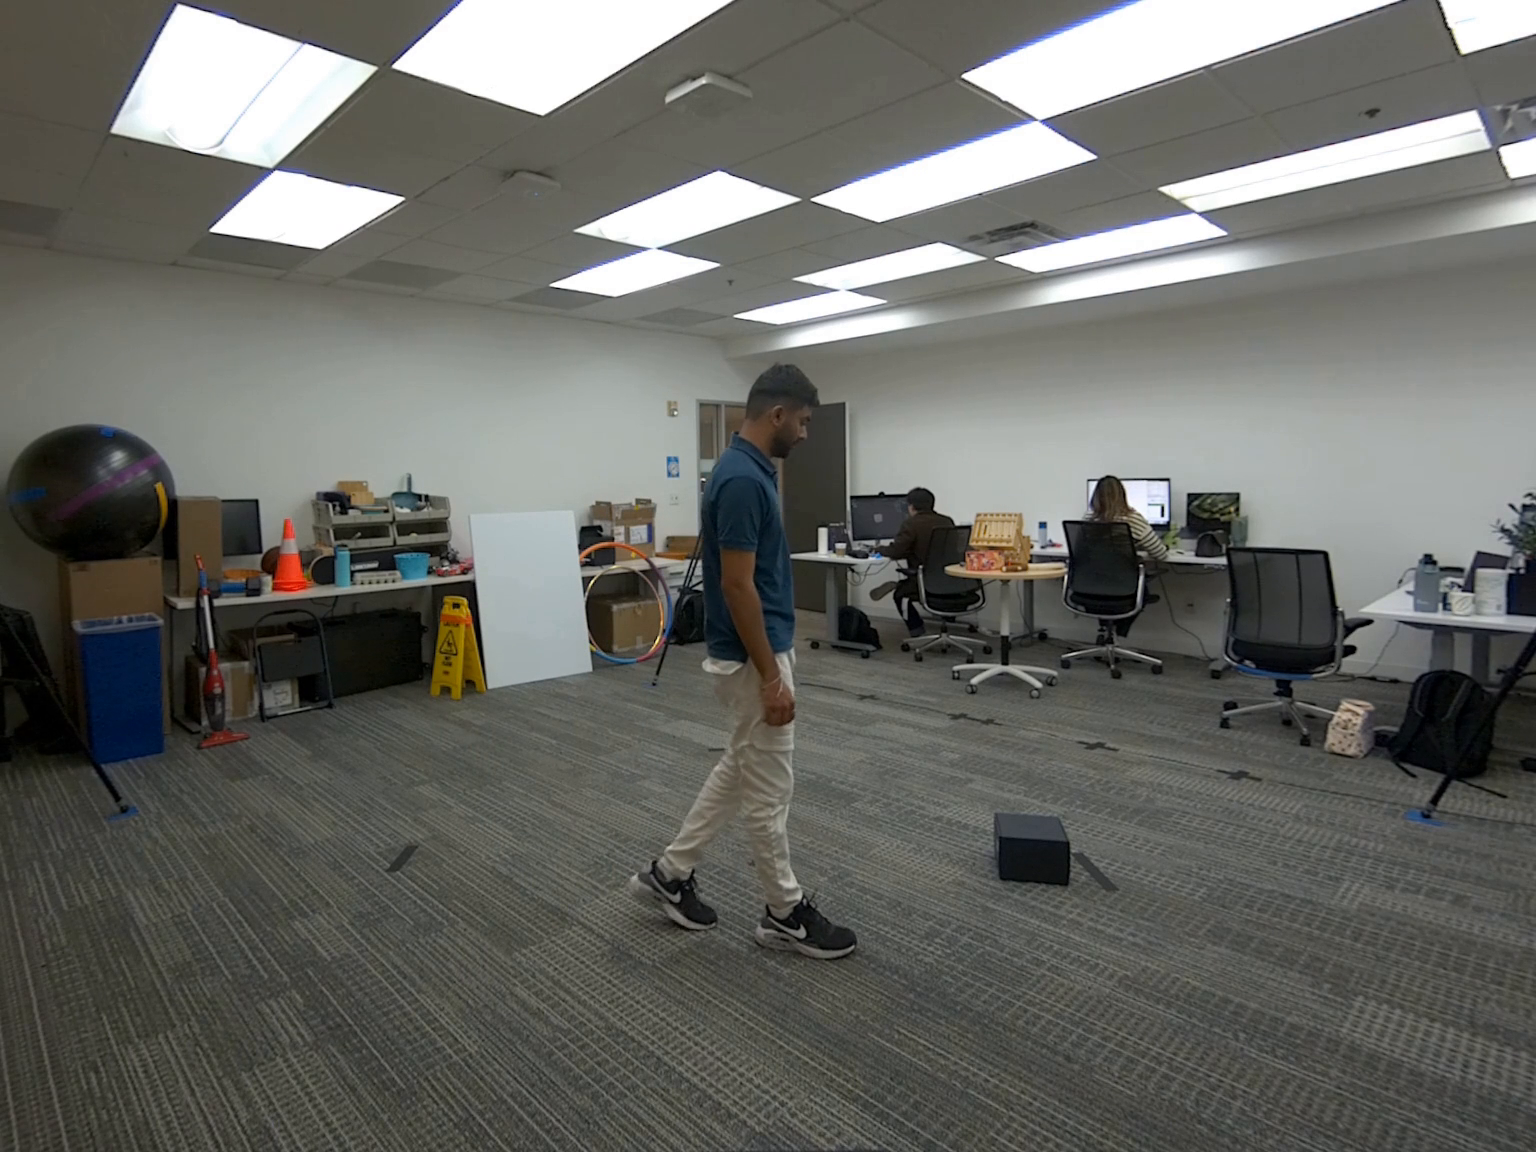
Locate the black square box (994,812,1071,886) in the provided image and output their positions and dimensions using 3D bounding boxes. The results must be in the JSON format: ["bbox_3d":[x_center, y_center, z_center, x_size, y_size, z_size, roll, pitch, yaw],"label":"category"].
[{"bbox_3d":[0.930,0.954,3.014,0.230,0.155,0.215,0,6,11],"label":"black square box"}]
